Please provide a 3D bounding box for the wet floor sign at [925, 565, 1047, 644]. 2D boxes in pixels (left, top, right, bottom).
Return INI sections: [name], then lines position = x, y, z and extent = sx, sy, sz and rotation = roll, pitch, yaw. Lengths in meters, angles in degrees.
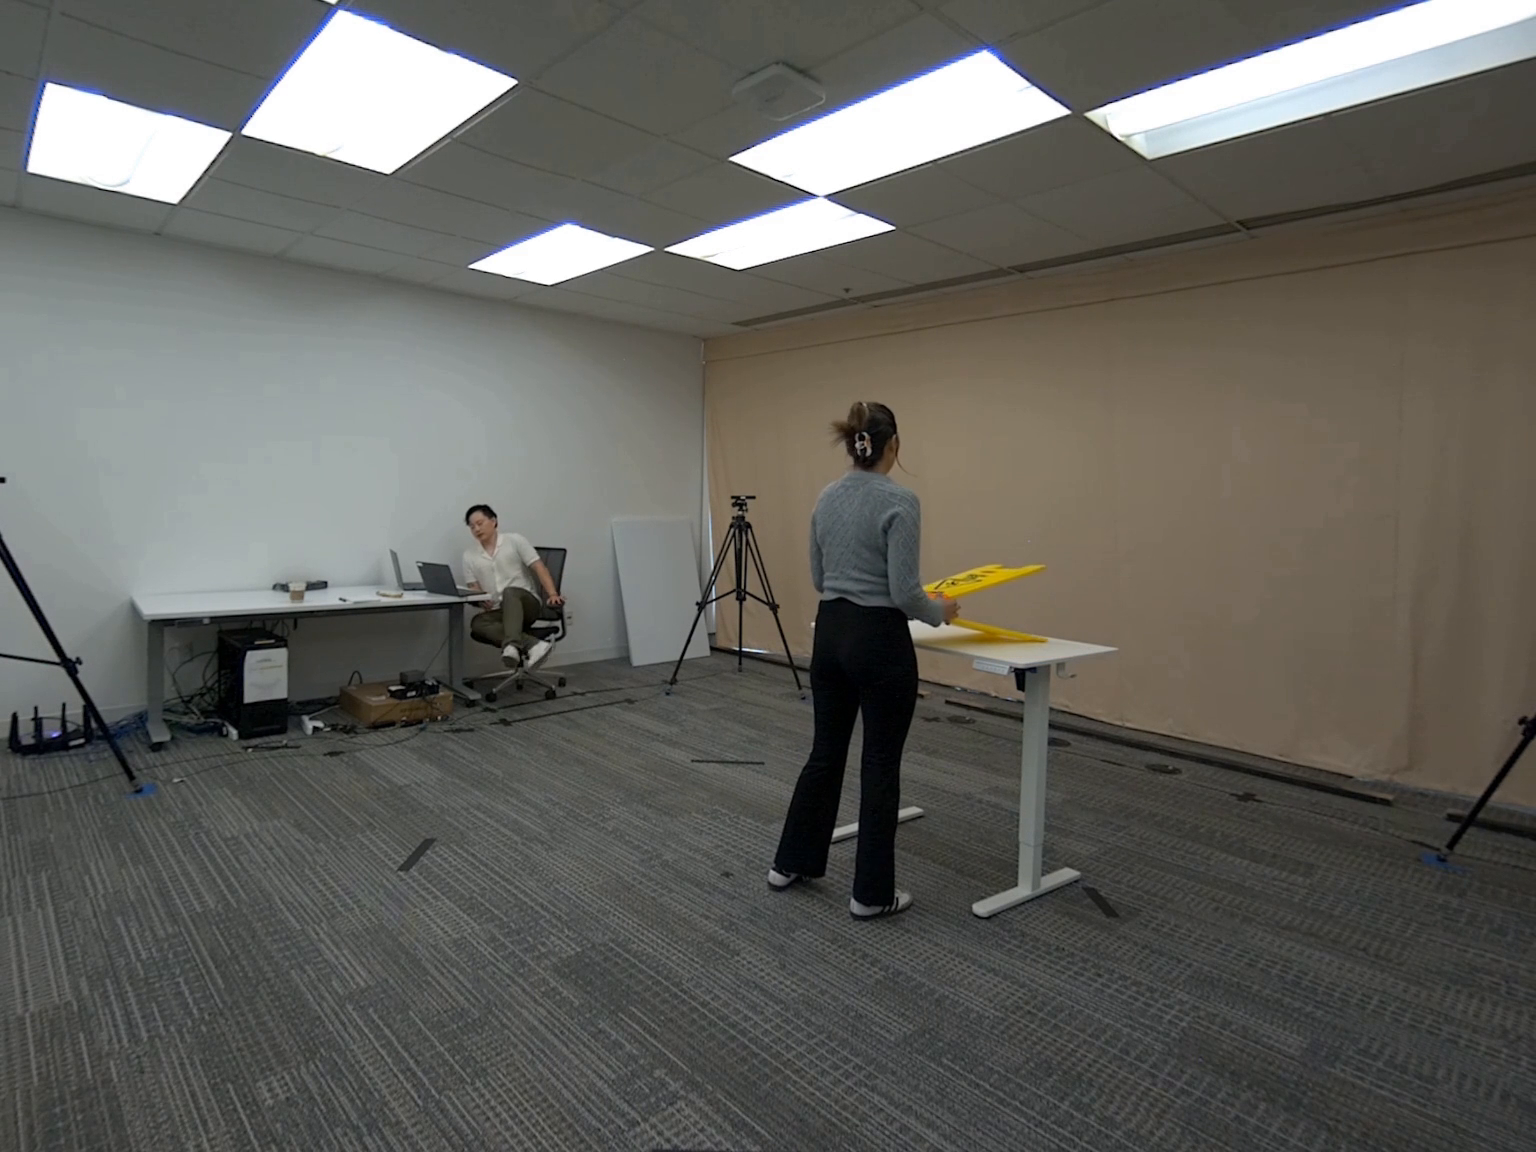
[wet floor sign]
position = 0.692, 0.103, 3.101
extent = 0.632, 0.289, 0.288
rotation = -1, 2, -32
